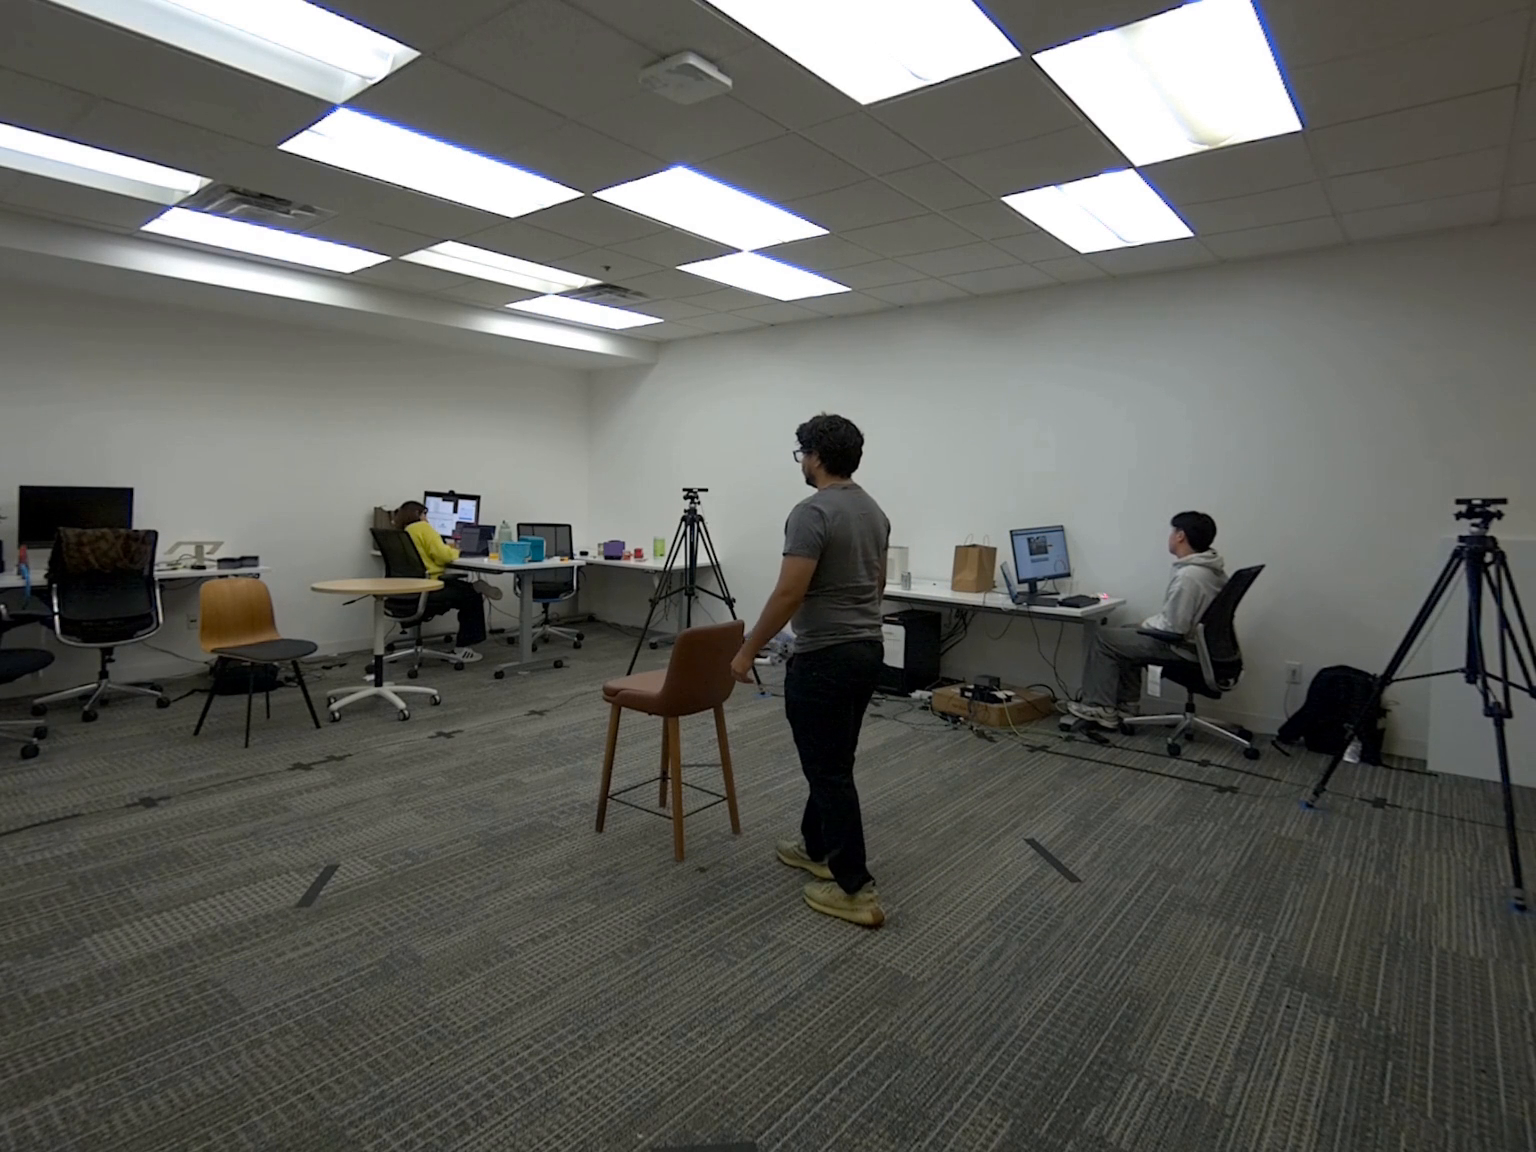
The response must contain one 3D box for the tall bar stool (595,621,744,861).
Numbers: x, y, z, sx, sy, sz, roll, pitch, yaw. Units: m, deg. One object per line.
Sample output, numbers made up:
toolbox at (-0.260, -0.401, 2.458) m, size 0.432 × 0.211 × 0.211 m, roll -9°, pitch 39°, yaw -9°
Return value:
tall bar stool at (-0.400, 0.602, 3.429) m, size 0.483 × 0.887 × 0.443 m, roll 6°, pitch 5°, yaw 37°
